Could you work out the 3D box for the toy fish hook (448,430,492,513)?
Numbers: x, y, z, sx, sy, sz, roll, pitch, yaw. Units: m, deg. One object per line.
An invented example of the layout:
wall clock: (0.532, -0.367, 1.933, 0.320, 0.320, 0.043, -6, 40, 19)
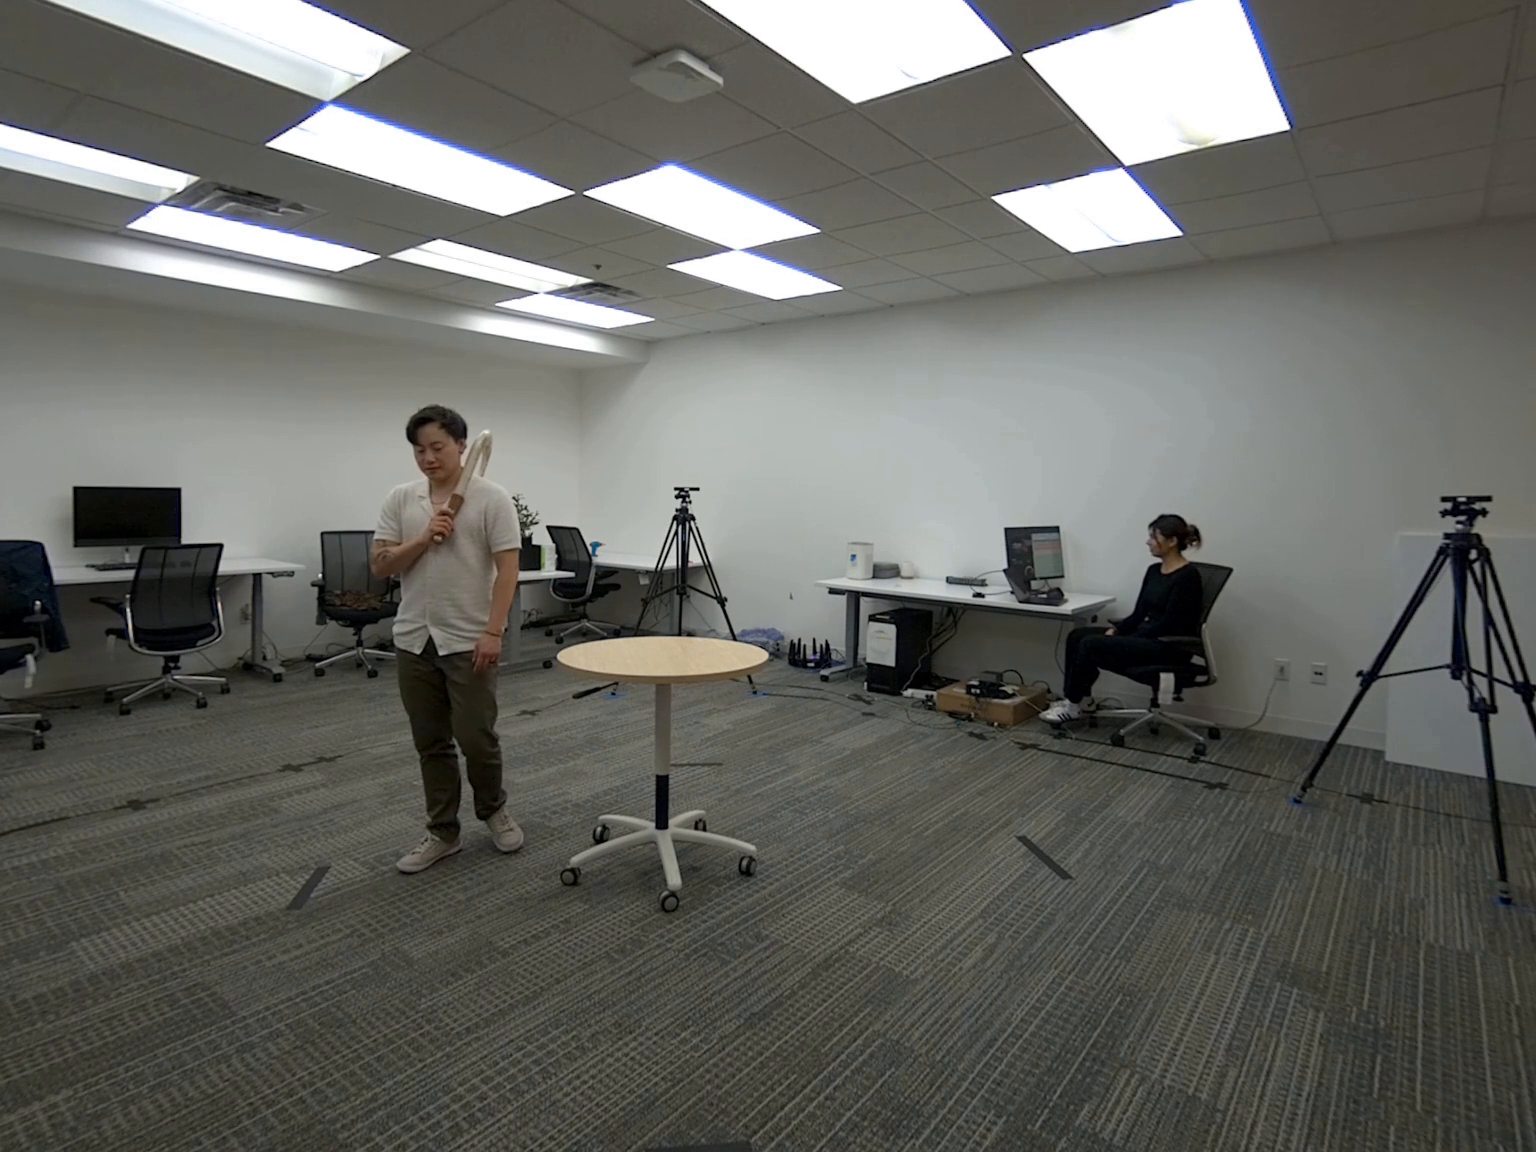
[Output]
toy fish hook: (-1.126, -0.312, 3.125, 0.048, 0.515, 0.220, 14, -29, 0)
